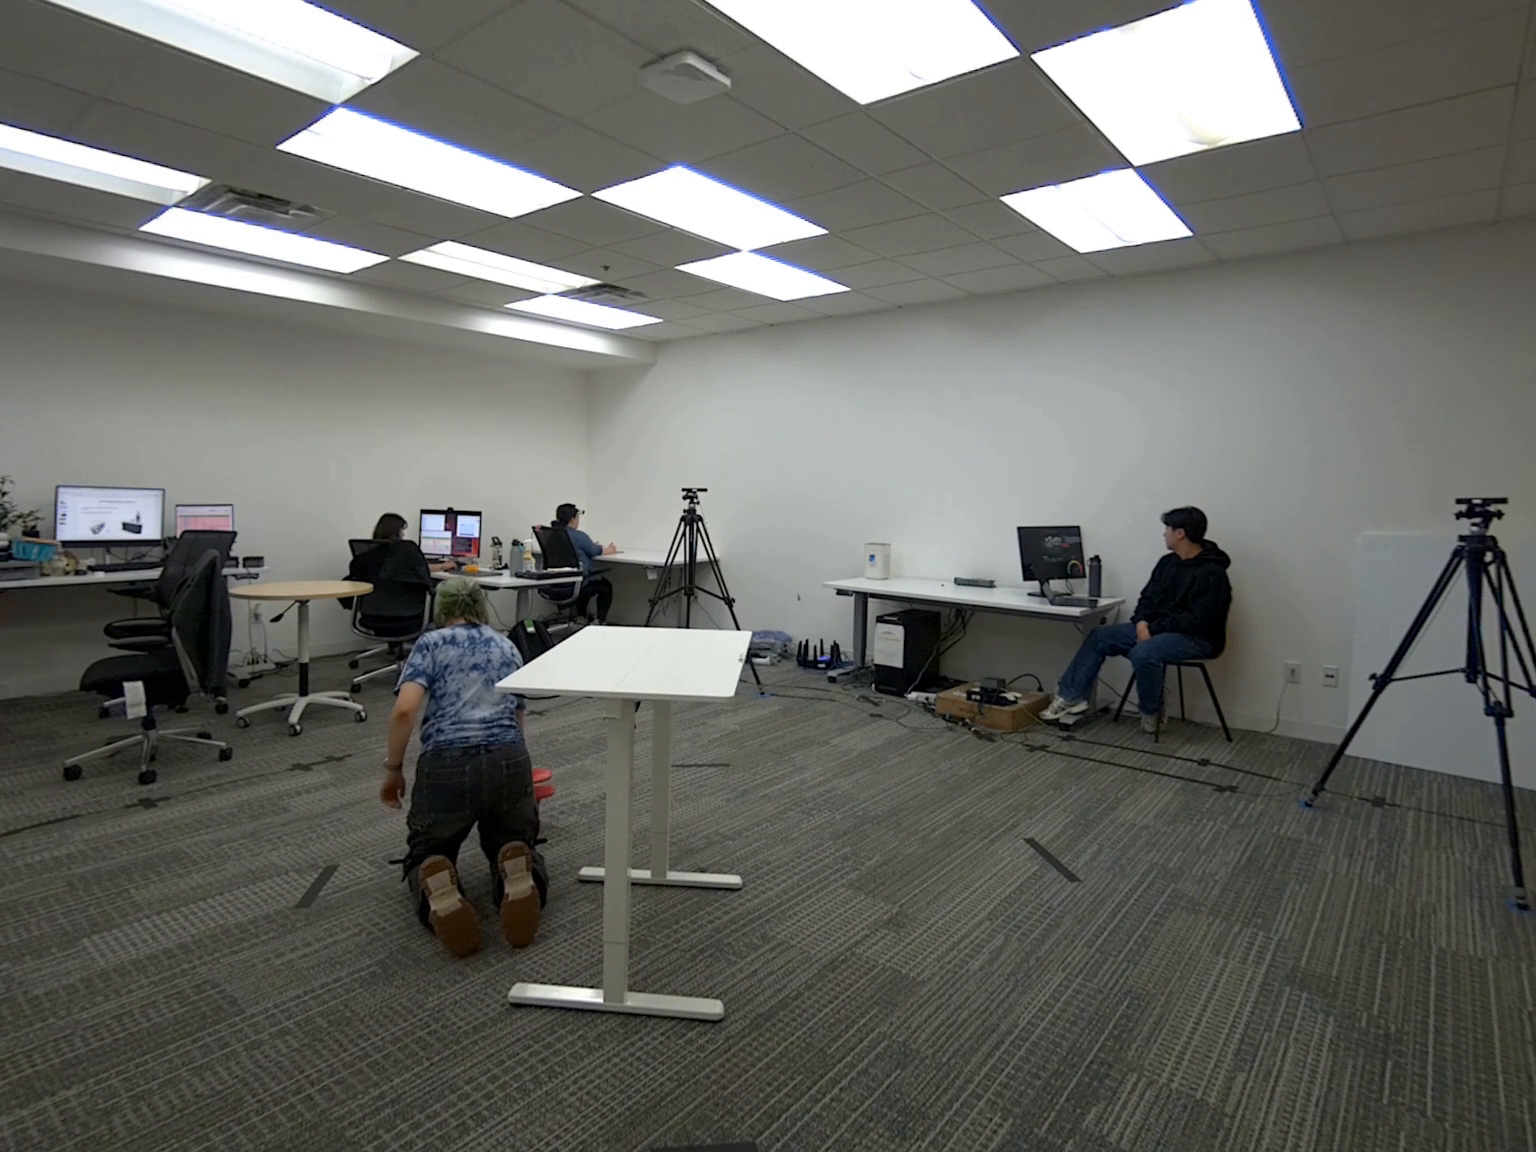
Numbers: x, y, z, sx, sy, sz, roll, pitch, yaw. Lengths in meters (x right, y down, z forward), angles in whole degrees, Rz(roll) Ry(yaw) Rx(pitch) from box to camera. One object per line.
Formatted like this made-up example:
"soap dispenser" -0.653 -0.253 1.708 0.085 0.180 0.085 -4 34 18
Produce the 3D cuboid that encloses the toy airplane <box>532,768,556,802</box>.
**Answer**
"toy airplane" -0.989 0.874 3.425 0.245 0.156 0.266 -9 6 -30
